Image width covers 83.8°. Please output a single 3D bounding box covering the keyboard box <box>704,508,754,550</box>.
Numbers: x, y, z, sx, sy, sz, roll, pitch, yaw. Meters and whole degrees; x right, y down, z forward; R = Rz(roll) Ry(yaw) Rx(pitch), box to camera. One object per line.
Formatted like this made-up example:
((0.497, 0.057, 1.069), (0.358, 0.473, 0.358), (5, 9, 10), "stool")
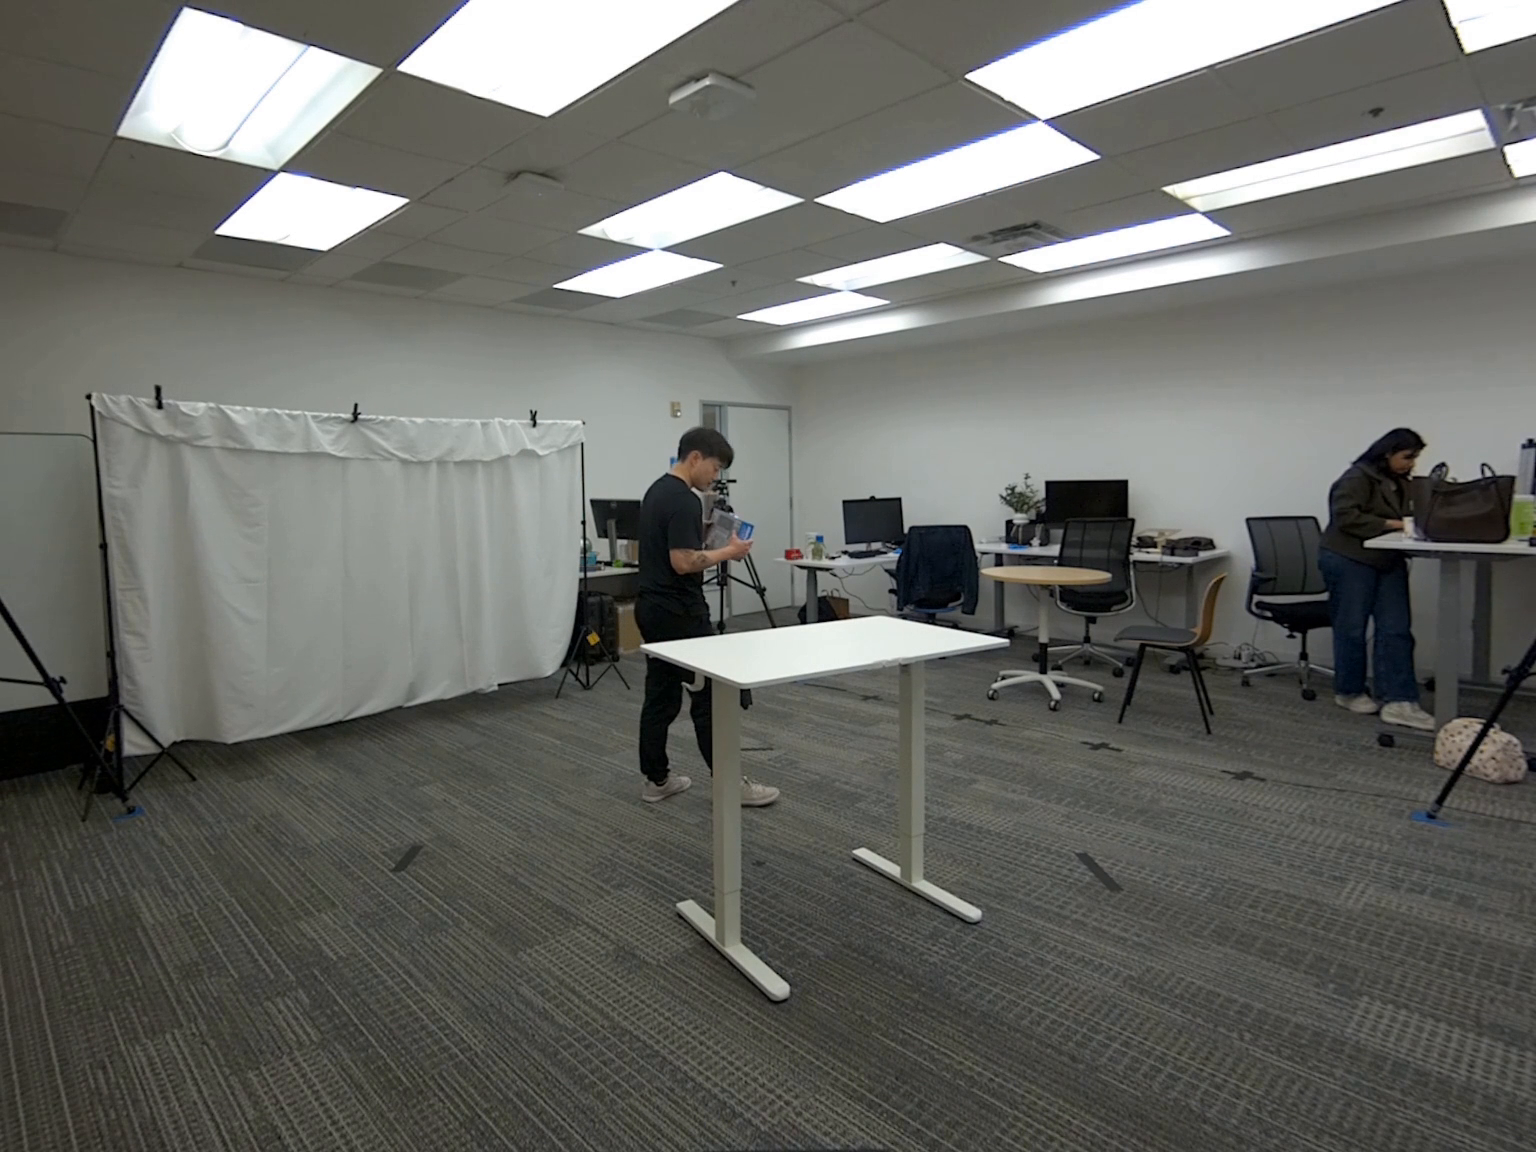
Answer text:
((-0.188, -0.188, 3.879), (0.058, 0.175, 0.448), (19, 5, -22), "keyboard box")
